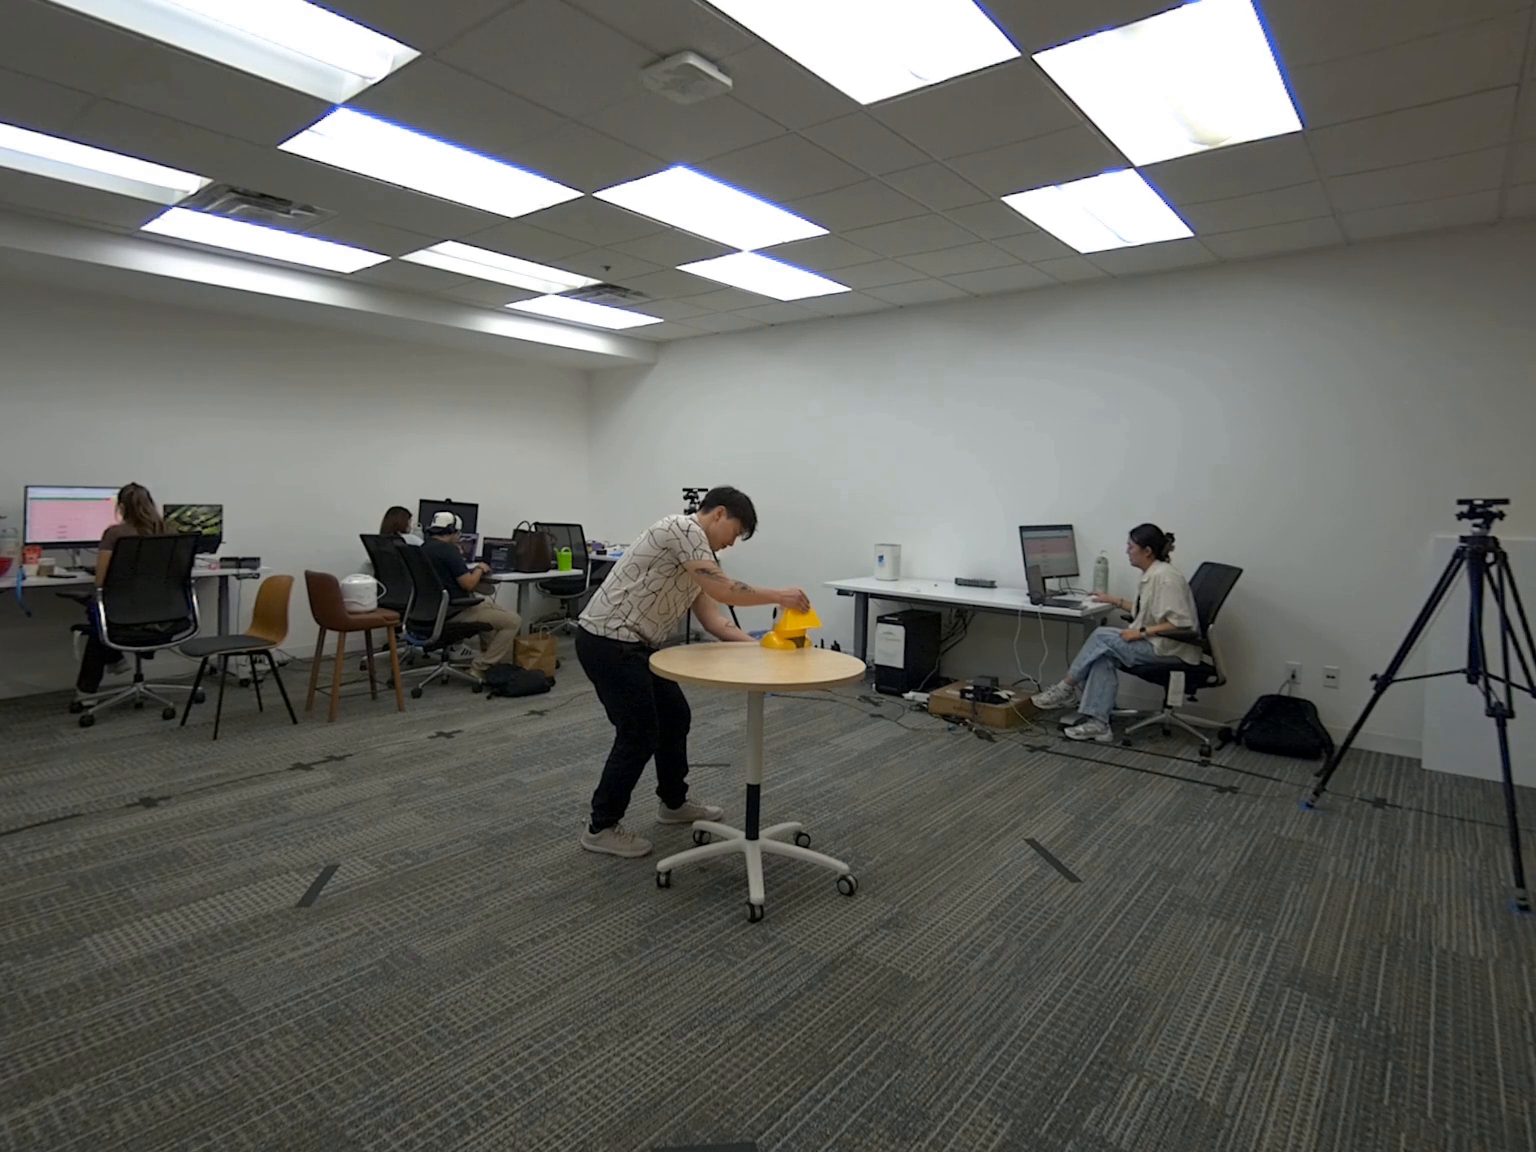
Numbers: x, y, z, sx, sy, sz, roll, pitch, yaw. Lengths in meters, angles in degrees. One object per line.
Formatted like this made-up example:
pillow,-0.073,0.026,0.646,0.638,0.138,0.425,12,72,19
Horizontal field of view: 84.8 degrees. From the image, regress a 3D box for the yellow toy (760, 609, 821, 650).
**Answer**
yellow toy,0.070,0.161,3.359,0.198,0.230,0.199,-2,4,-43
